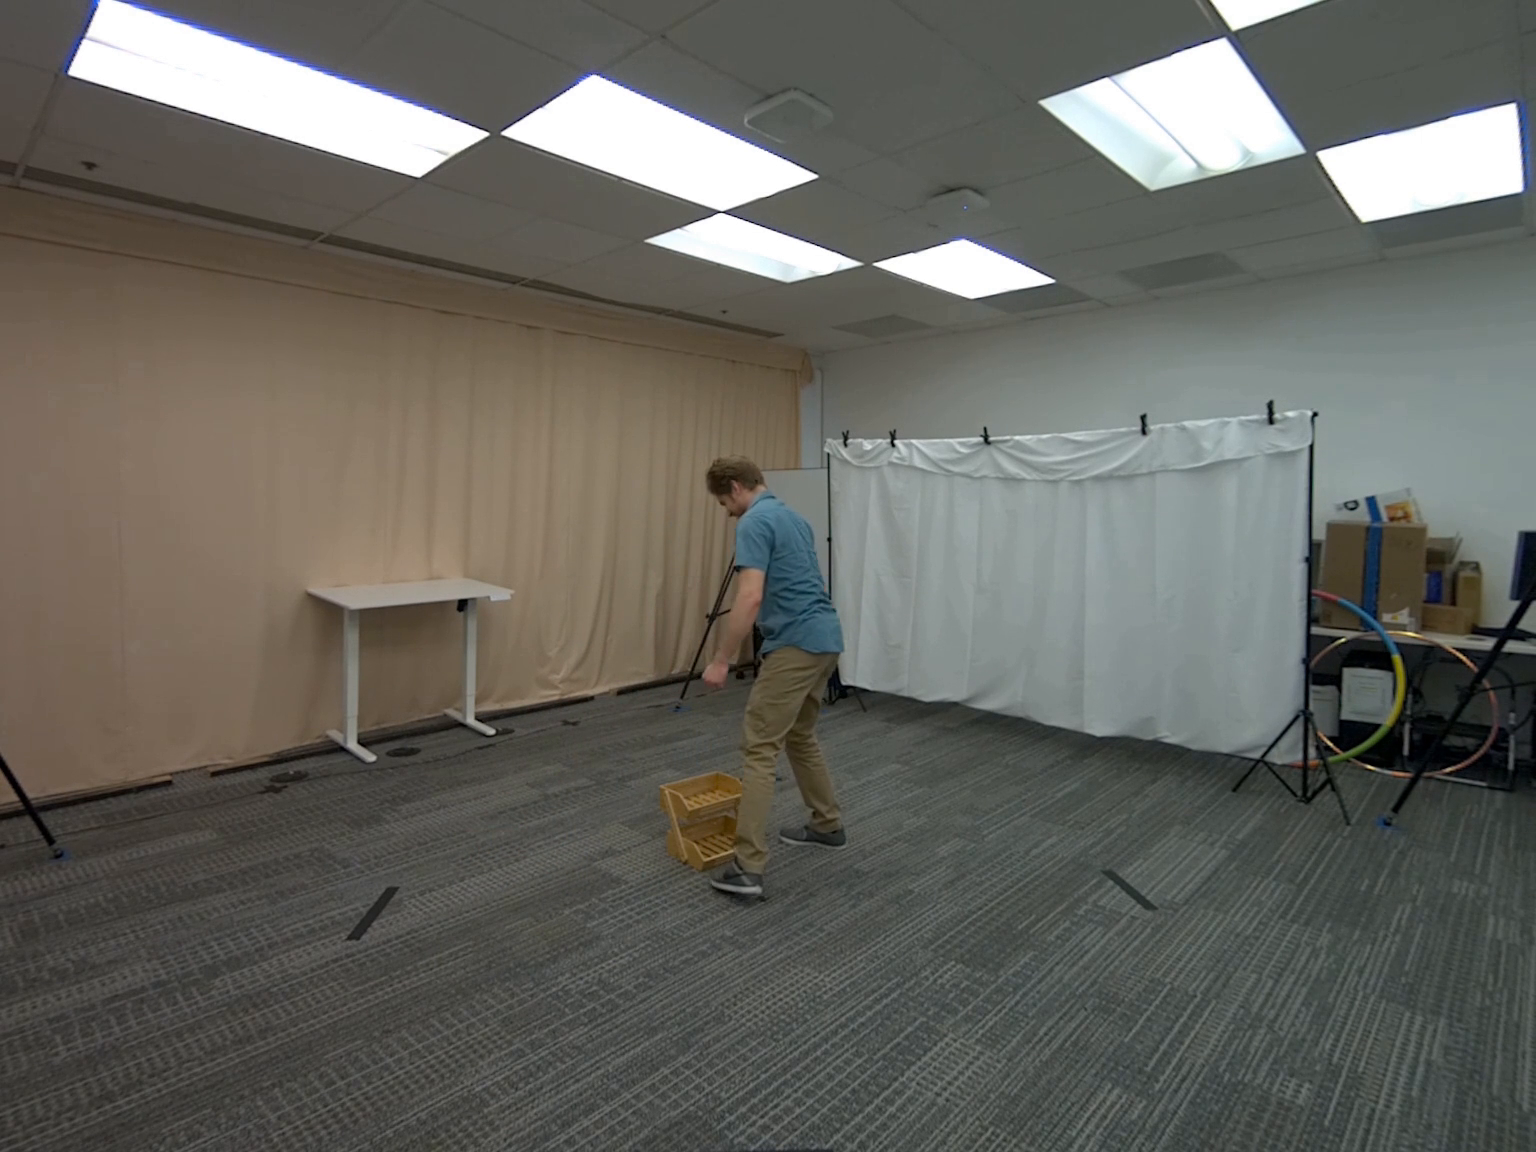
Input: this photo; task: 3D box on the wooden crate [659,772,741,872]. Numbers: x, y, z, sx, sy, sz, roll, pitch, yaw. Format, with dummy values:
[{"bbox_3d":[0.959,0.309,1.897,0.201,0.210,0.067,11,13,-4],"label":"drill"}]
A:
[{"bbox_3d":[-0.230,0.975,3.392,0.315,0.273,0.312,-4,4,-40],"label":"wooden crate"}]
